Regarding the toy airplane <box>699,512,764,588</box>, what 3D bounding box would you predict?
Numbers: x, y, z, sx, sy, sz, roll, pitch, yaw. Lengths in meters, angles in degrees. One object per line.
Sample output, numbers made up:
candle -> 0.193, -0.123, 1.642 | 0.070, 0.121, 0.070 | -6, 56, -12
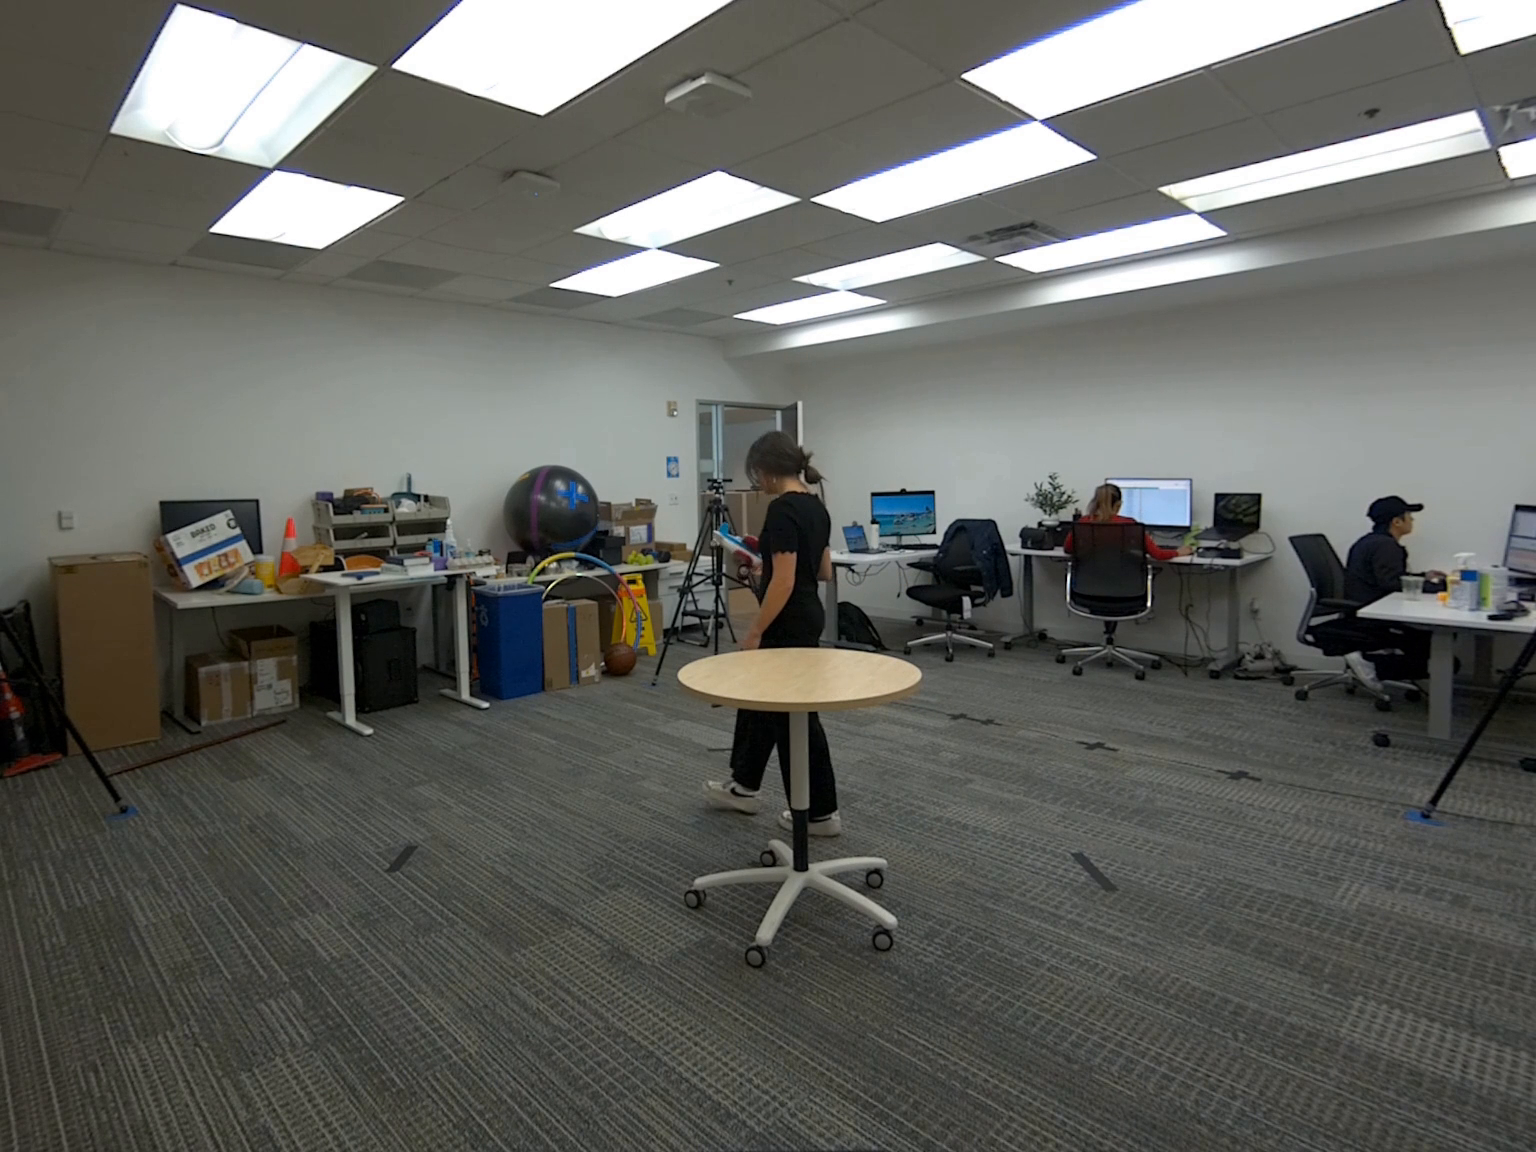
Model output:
toy airplane -> -0.122, -0.118, 3.690 | 0.156, 0.253, 0.257 | -42, 20, -13
